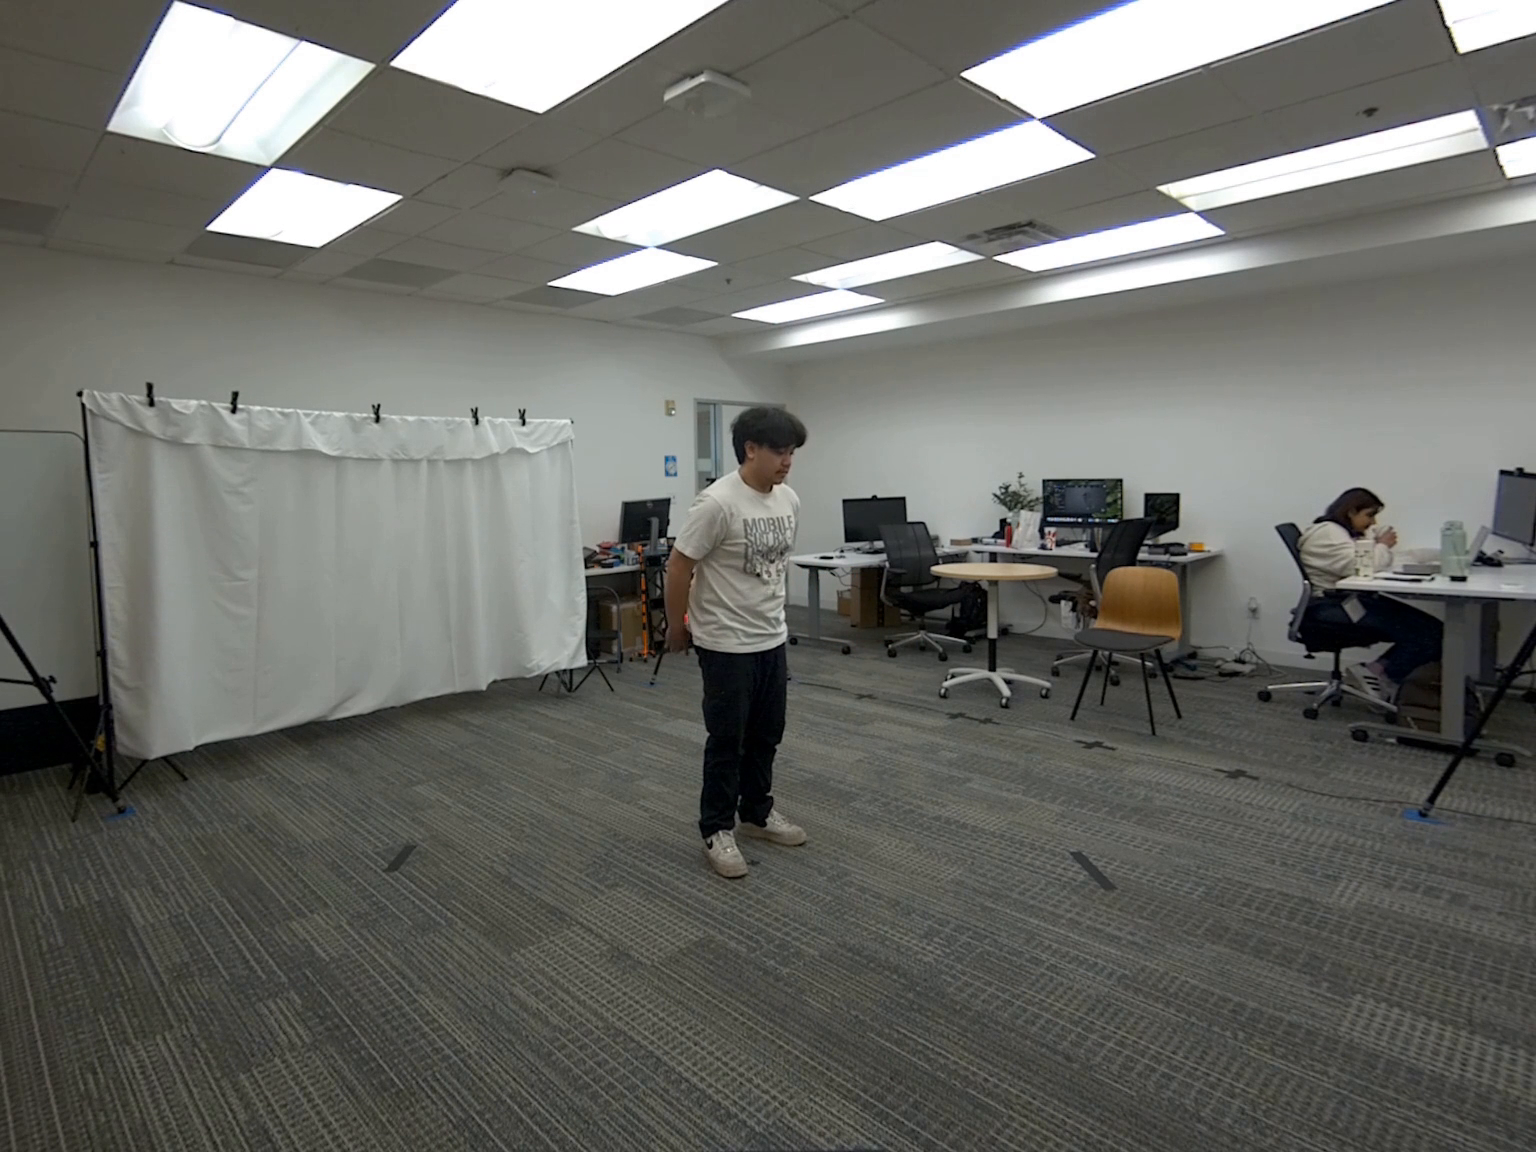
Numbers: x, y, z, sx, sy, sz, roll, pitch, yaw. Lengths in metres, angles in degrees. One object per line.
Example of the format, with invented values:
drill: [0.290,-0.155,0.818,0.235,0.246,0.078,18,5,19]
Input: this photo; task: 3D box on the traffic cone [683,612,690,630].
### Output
traffic cone: [-0.196,0.172,3.479,0.372,0.204,0.210,0,-2,-41]
